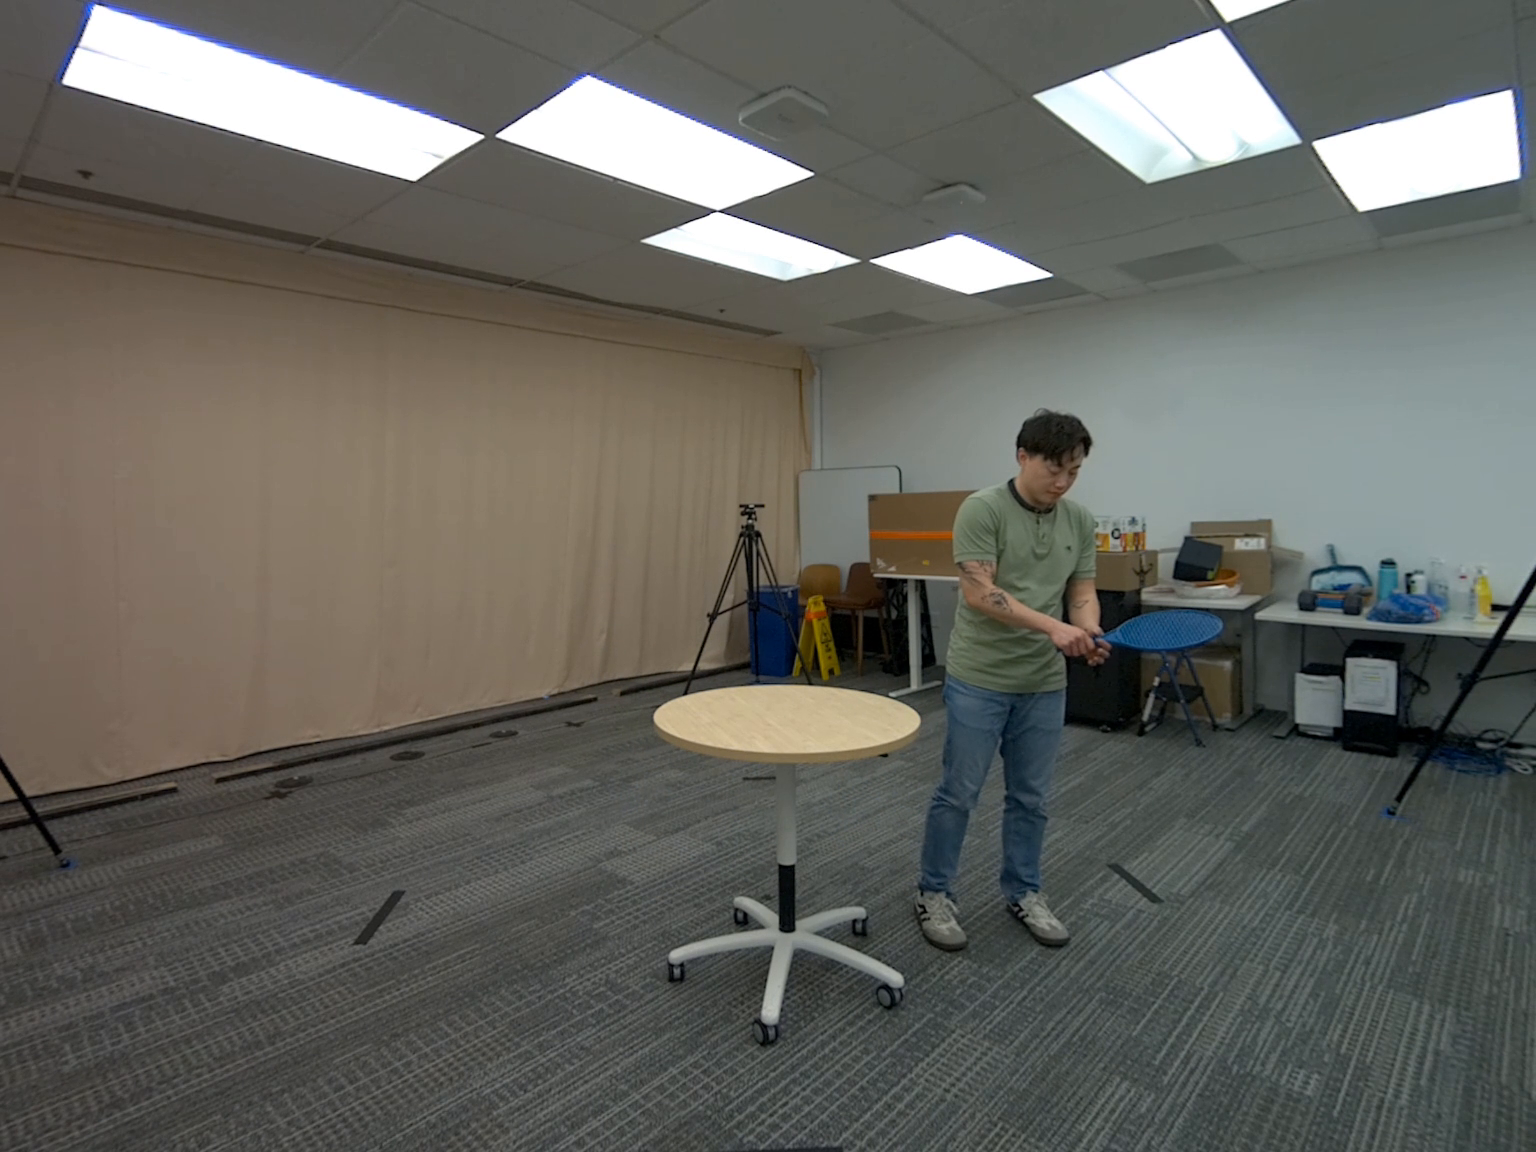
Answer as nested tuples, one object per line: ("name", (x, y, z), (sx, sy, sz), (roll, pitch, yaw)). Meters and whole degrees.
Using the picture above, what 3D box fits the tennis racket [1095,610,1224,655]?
("tennis racket", (1.020, 0.171, 2.386), (0.440, 0.031, 0.214), (-13, 21, 17))
